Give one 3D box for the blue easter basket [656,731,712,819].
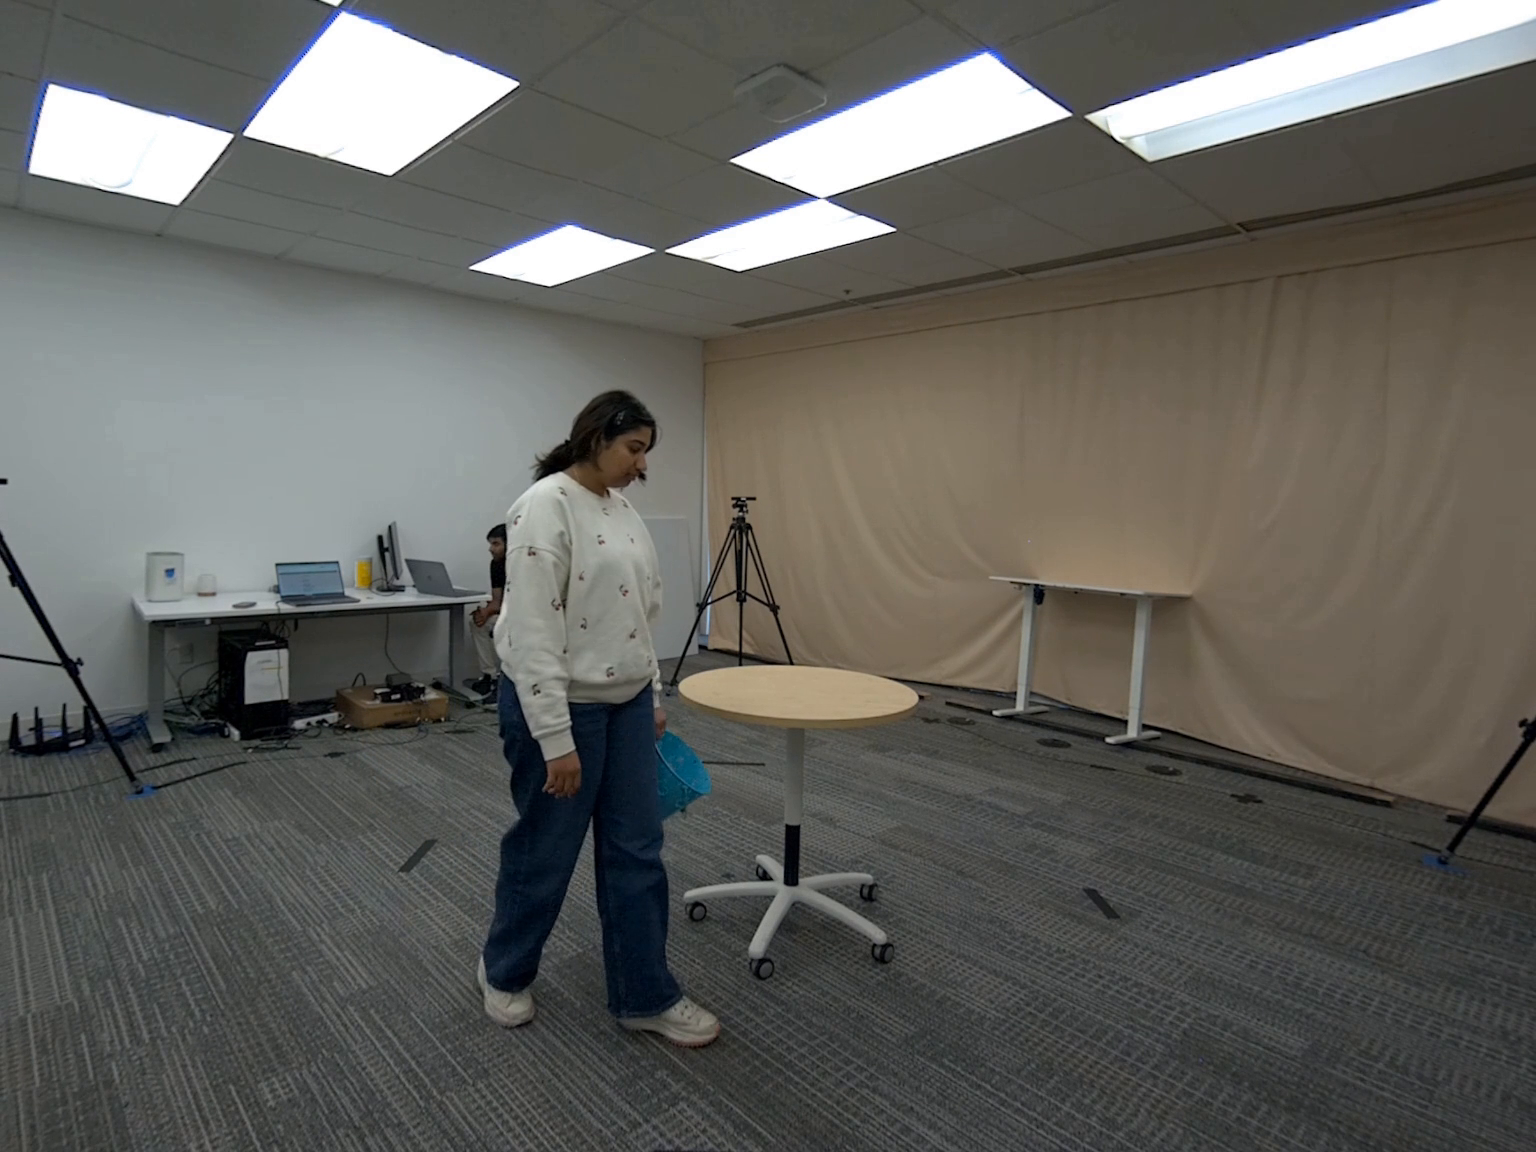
[{"bbox_3d":[-0.300,0.587,2.407,0.240,0.156,0.246,44,11,-13],"label":"blue easter basket"}]
